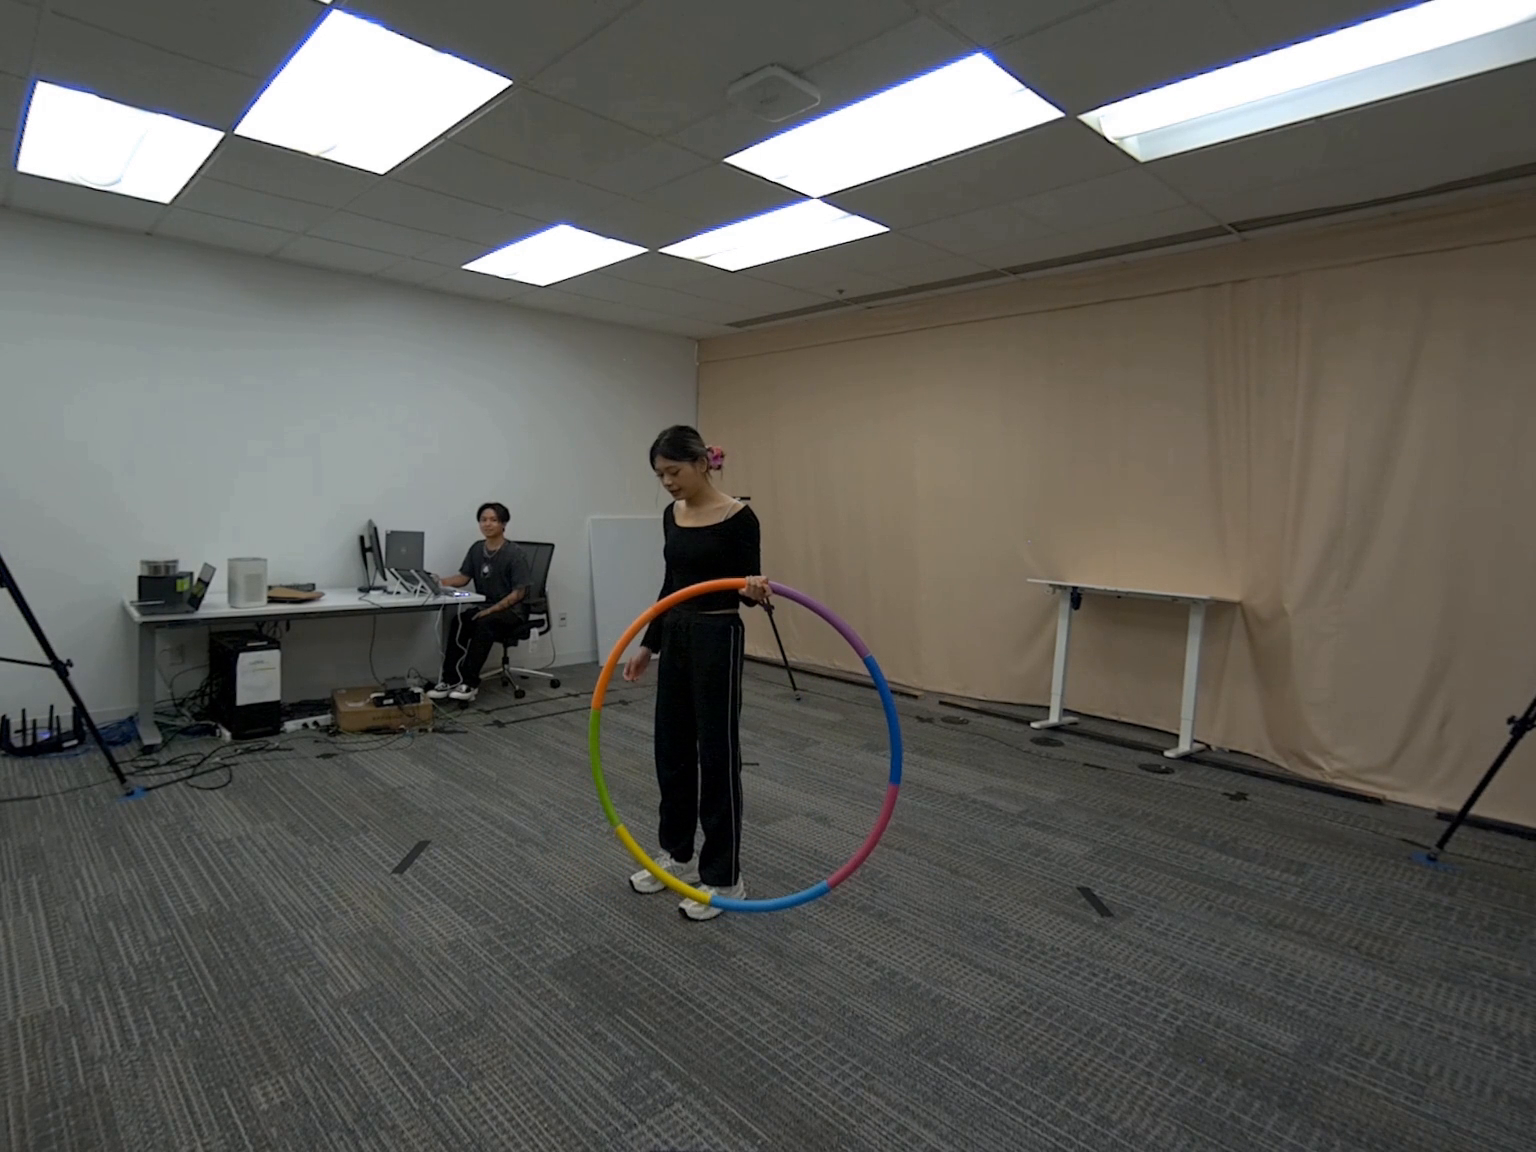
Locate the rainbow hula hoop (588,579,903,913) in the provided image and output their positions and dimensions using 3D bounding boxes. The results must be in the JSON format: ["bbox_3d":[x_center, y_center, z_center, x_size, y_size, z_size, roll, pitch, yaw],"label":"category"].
[{"bbox_3d":[-0.092,0.515,2.546,0.990,0.980,0.035,2,-3,14],"label":"rainbow hula hoop"}]
